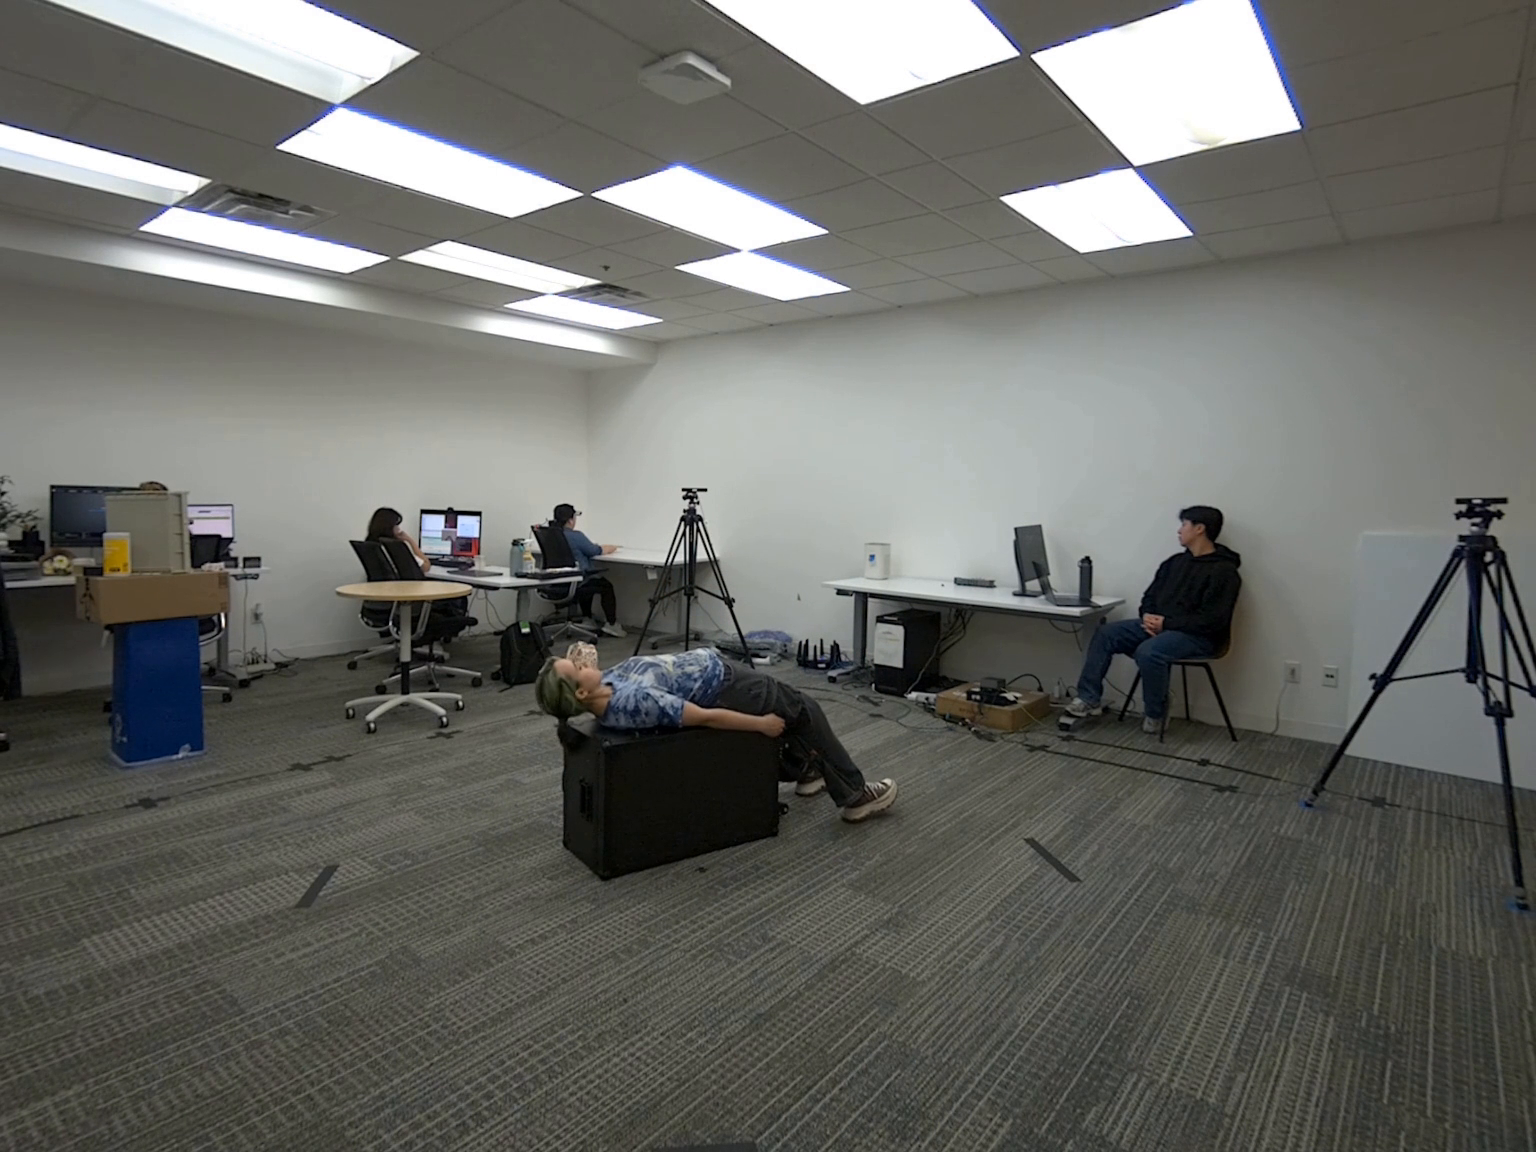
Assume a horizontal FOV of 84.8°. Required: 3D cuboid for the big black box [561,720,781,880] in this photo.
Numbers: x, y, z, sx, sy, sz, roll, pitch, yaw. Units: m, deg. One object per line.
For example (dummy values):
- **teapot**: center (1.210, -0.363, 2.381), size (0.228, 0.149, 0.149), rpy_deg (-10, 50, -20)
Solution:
- **big black box**: center (-0.362, 0.800, 3.367), size (0.837, 0.520, 0.409), rpy_deg (-1, 5, -34)
